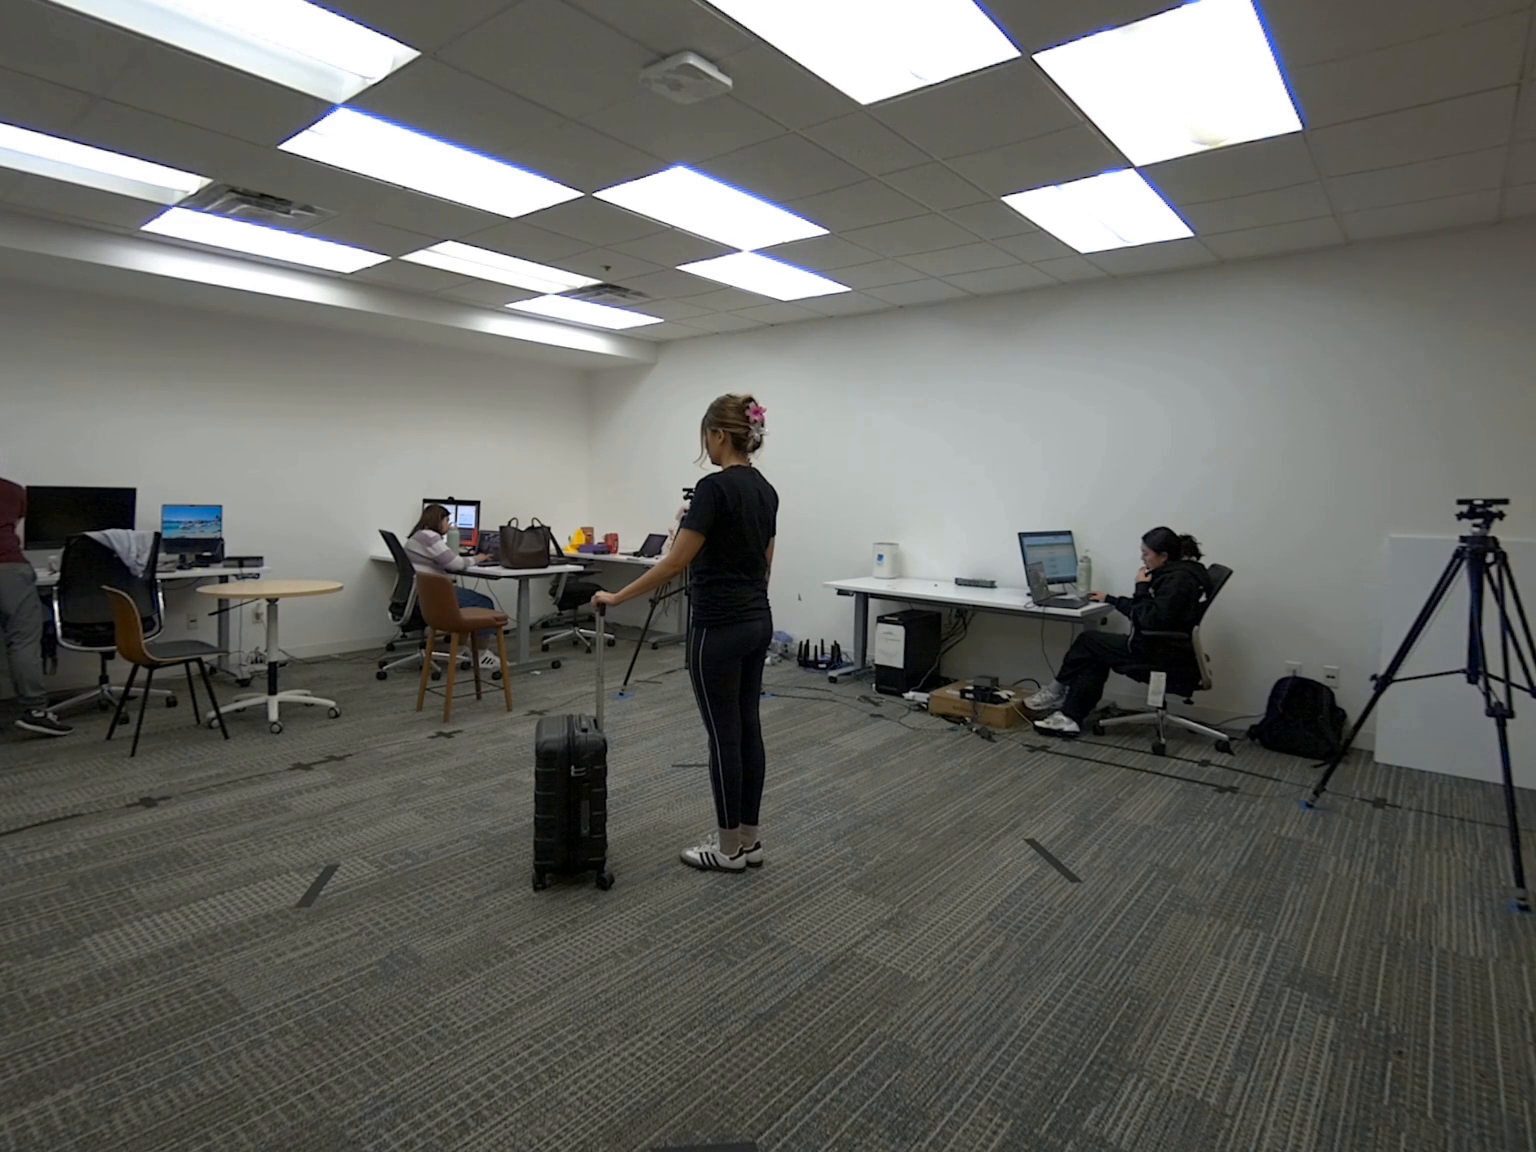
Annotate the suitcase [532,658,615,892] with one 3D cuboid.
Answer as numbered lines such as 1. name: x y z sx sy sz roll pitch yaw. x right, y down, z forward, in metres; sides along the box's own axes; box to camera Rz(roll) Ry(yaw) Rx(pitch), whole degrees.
1. suitcase: -0.728 0.591 3.061 0.254 0.976 0.389 -3 3 -11
